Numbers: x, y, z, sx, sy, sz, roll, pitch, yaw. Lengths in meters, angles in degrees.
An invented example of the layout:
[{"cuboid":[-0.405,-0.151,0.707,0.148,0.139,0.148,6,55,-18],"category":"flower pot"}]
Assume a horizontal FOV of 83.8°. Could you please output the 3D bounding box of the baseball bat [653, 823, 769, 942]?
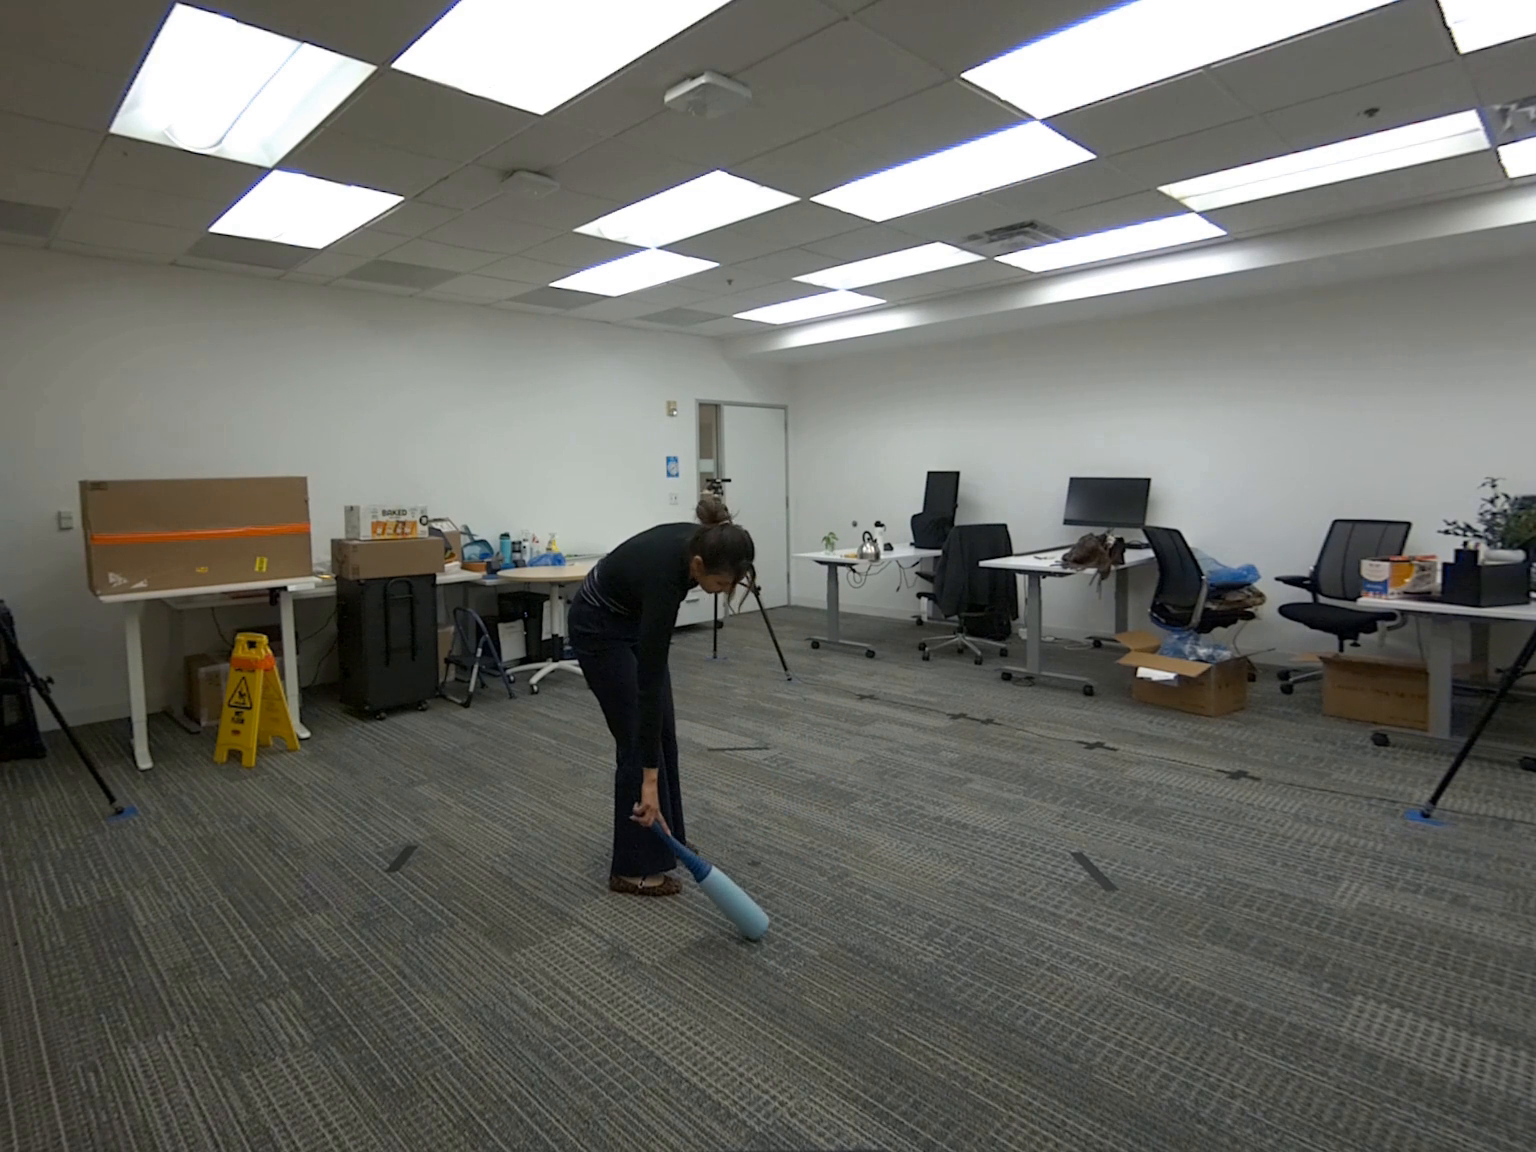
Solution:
[{"cuboid":[-0.205,0.889,2.590,0.089,0.540,0.089,-43,3,3],"category":"baseball bat"}]
